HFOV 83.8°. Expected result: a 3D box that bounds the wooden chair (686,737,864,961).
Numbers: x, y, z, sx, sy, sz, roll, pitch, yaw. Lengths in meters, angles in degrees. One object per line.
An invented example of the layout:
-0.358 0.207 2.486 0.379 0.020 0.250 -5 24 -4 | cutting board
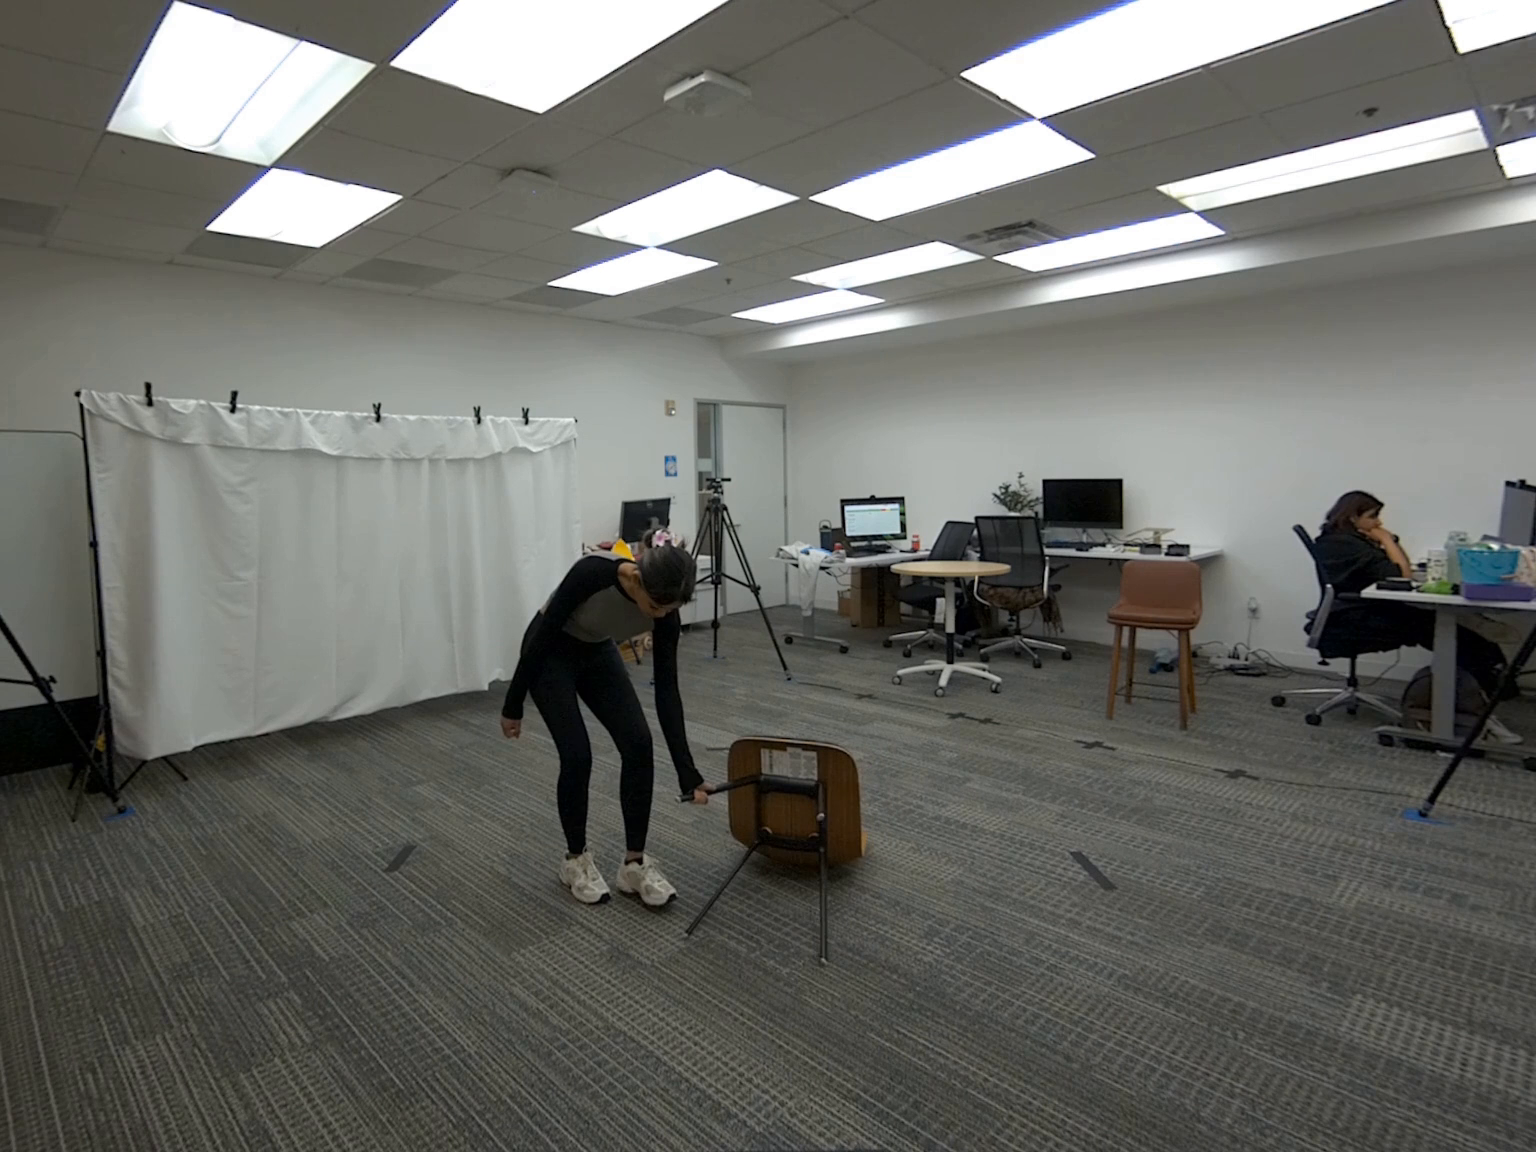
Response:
0.075 0.804 2.894 0.487 0.521 0.864 0 5 19 | wooden chair
